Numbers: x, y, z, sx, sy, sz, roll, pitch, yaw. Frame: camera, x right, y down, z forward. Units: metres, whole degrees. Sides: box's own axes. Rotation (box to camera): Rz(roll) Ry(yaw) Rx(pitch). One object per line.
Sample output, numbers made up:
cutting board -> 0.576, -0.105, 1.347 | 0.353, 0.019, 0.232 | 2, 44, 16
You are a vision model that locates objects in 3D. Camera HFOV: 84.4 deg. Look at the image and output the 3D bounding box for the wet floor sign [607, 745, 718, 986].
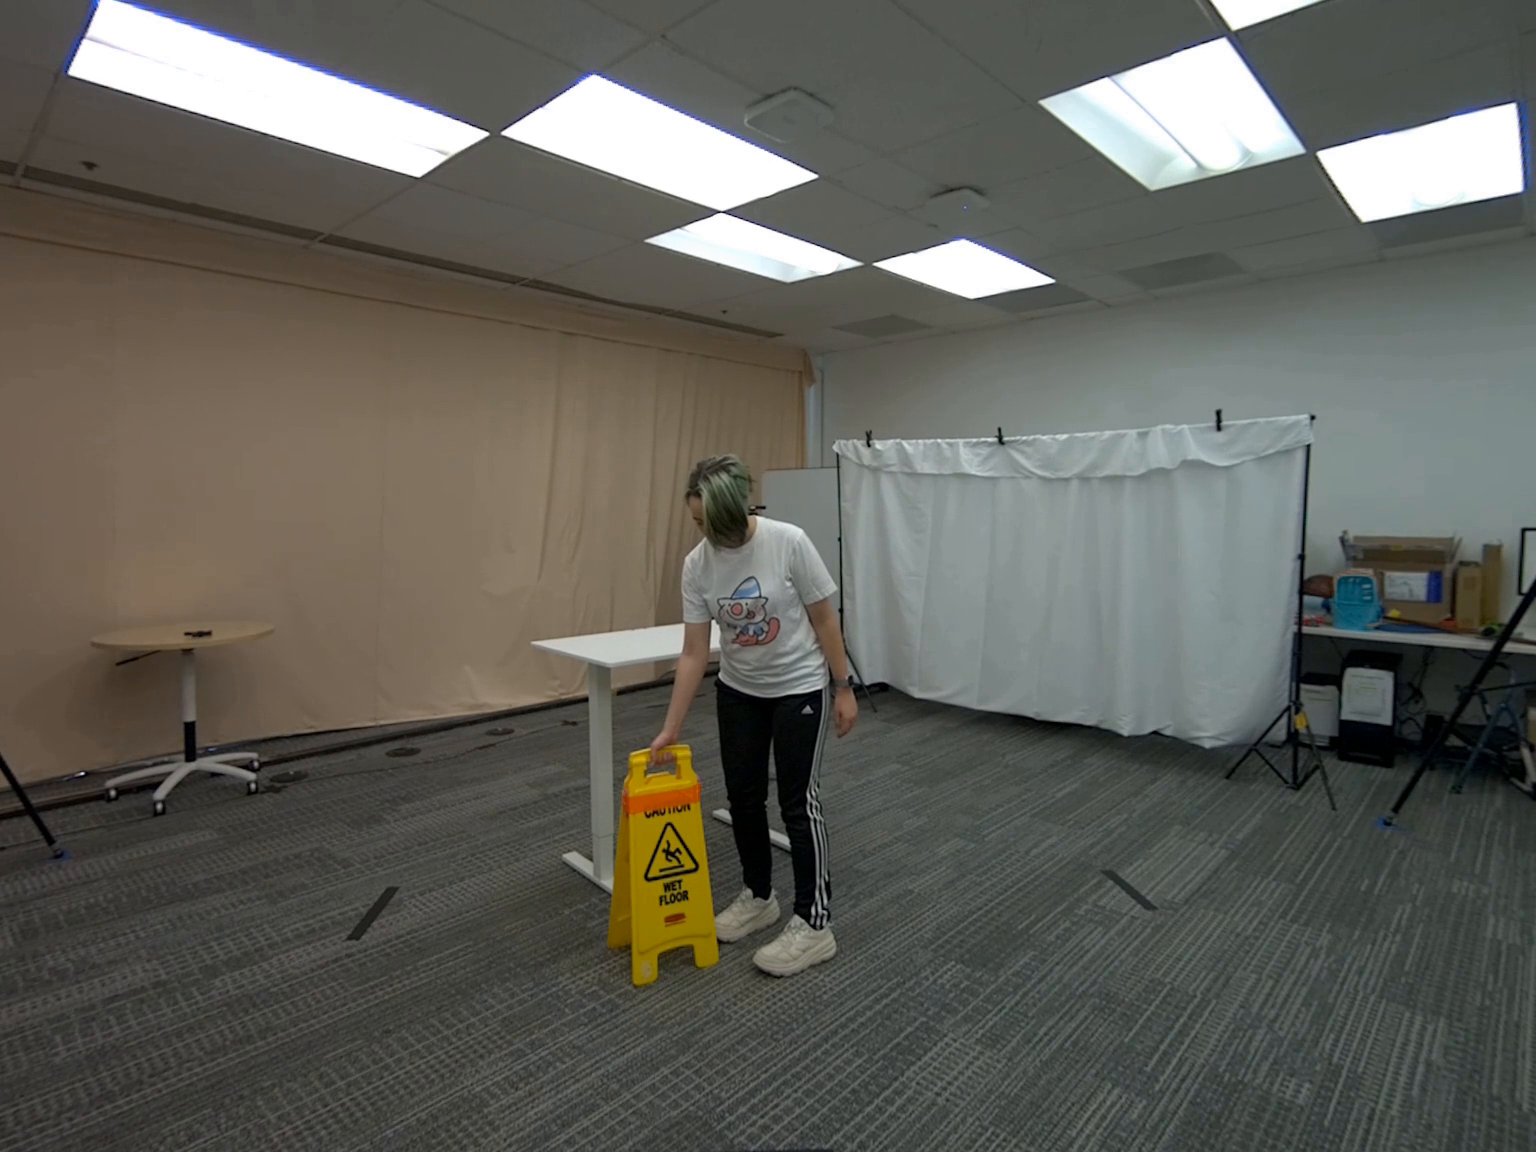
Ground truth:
wet floor sign -> -0.330, 0.856, 2.589 | 0.275, 0.644, 0.298 | -2, 4, -27
